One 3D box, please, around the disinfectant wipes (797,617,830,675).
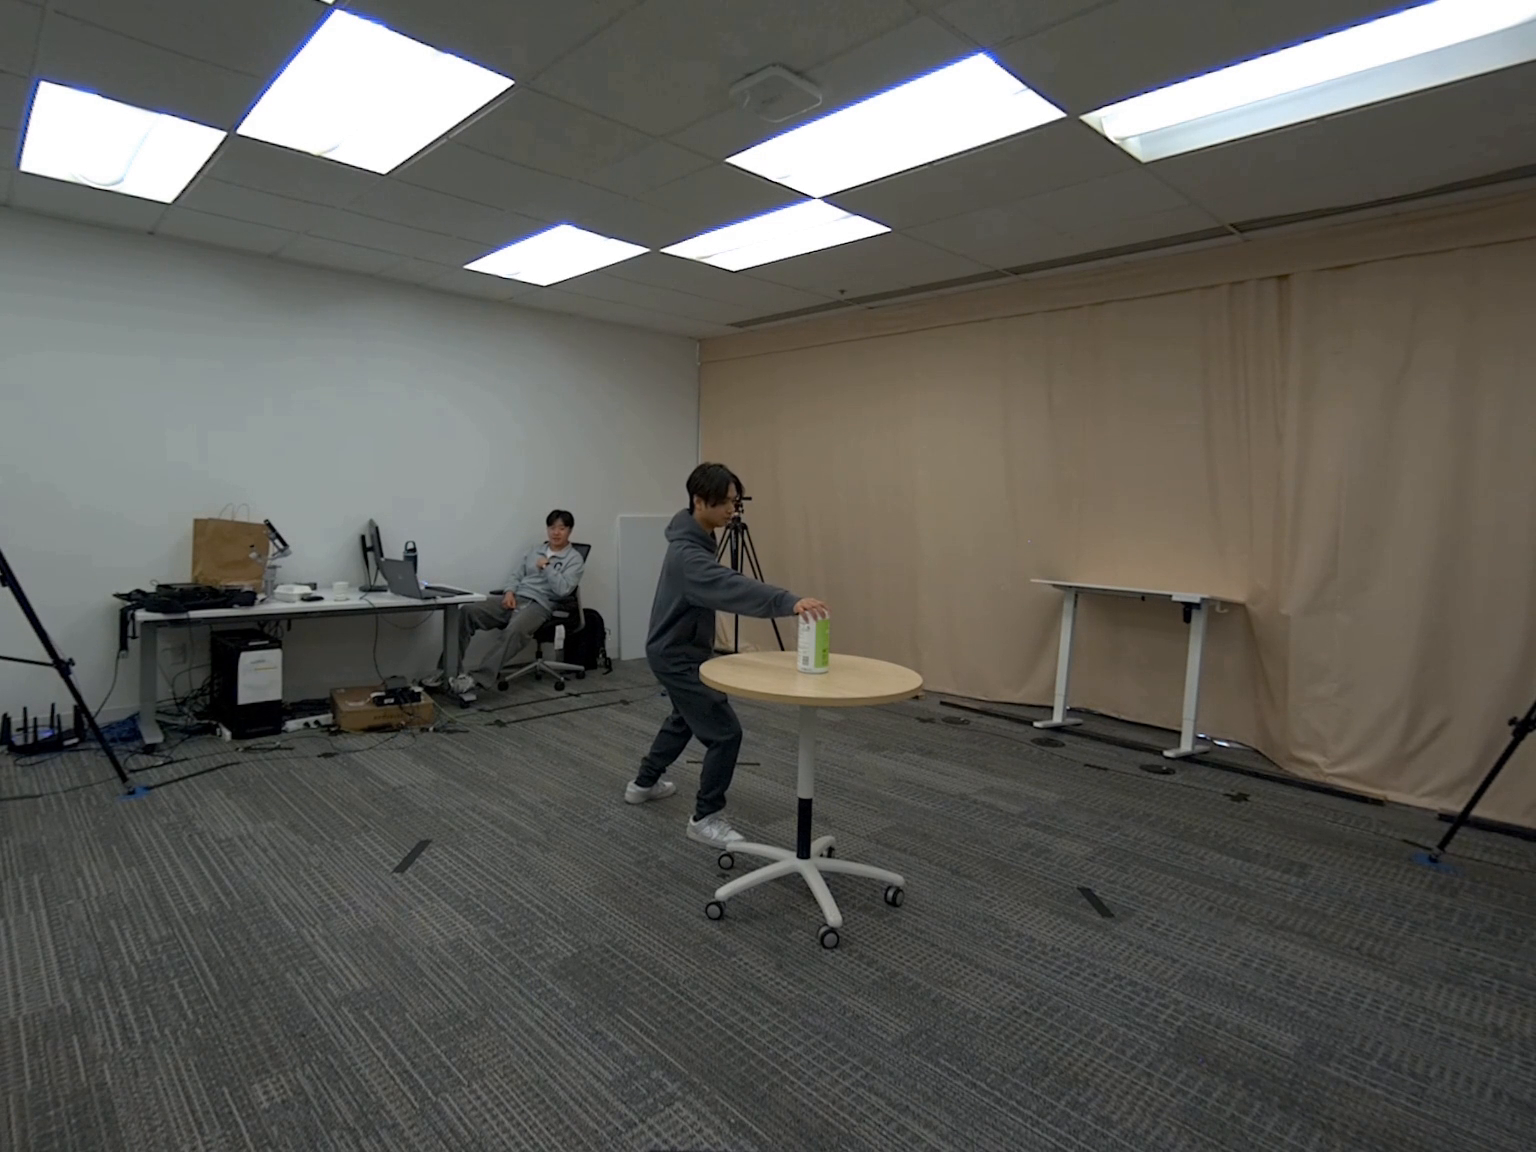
[{"bbox_3d":[0.154,0.227,2.923,0.118,0.217,0.118,0,4,-1],"label":"disinfectant wipes"}]
